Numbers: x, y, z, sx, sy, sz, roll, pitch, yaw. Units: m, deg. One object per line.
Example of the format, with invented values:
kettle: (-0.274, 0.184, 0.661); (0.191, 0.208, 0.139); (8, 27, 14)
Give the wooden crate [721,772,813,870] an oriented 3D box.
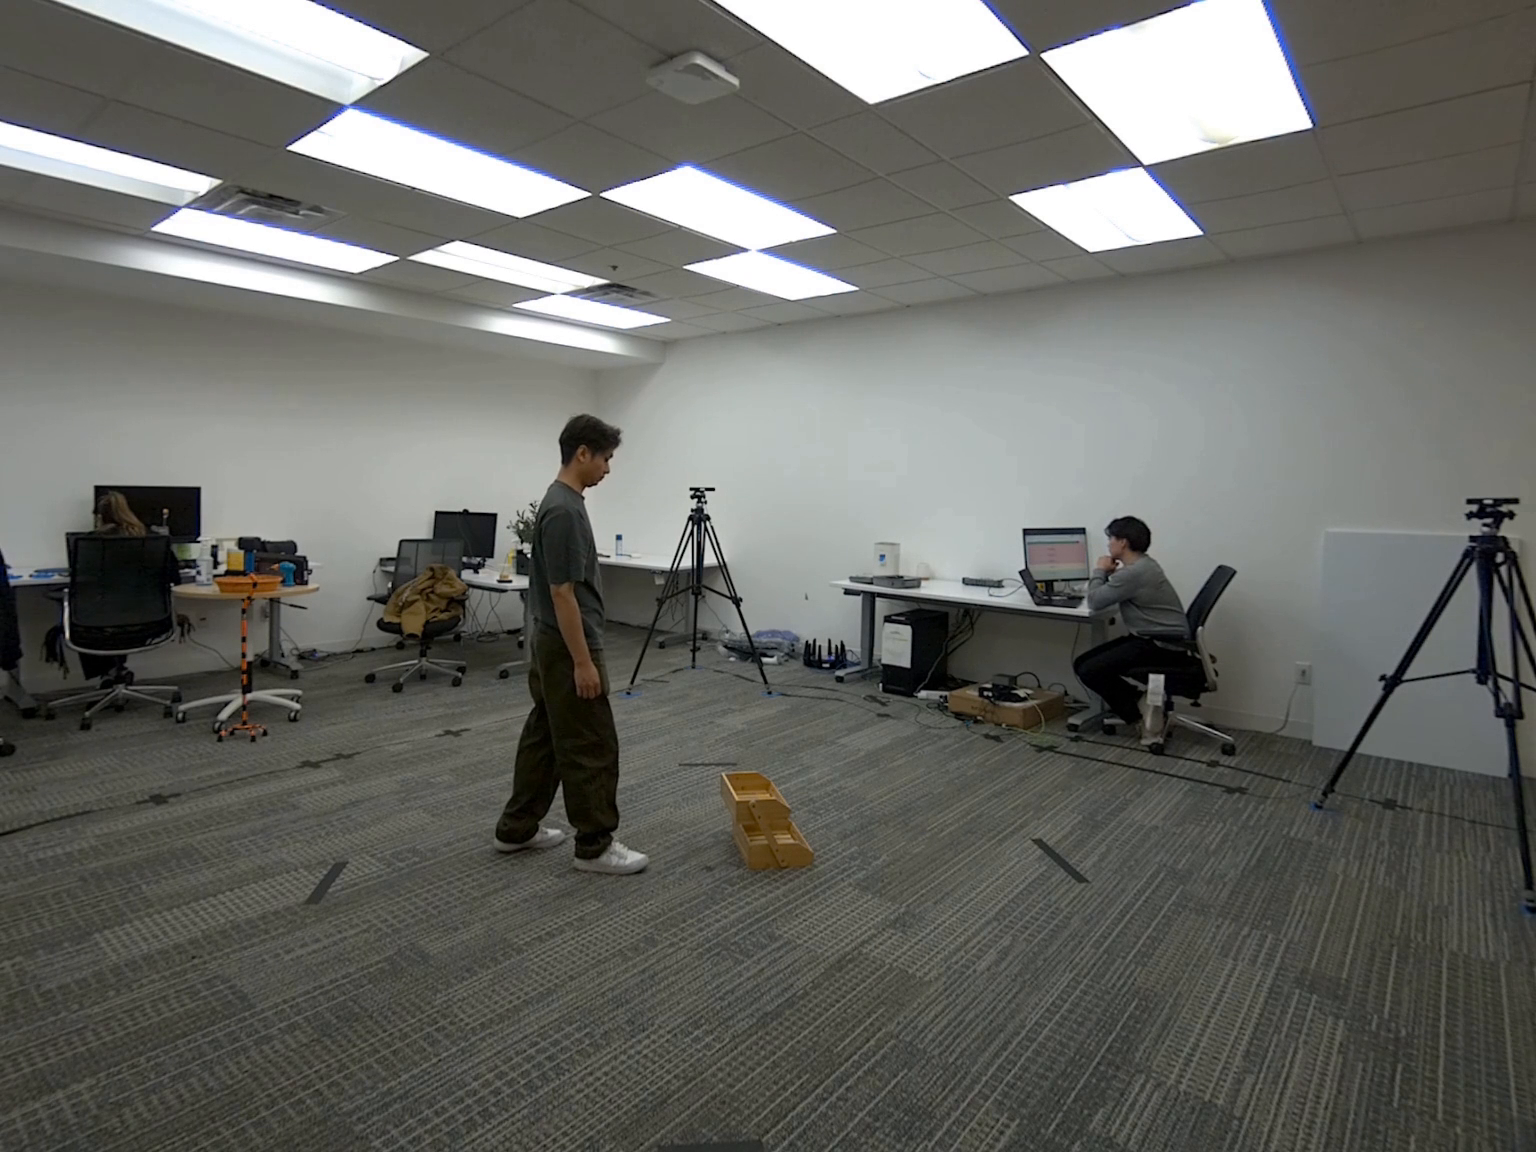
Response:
wooden crate: (-0.014, 0.921, 3.263); (0.298, 0.272, 0.330); (0, 5, -13)
